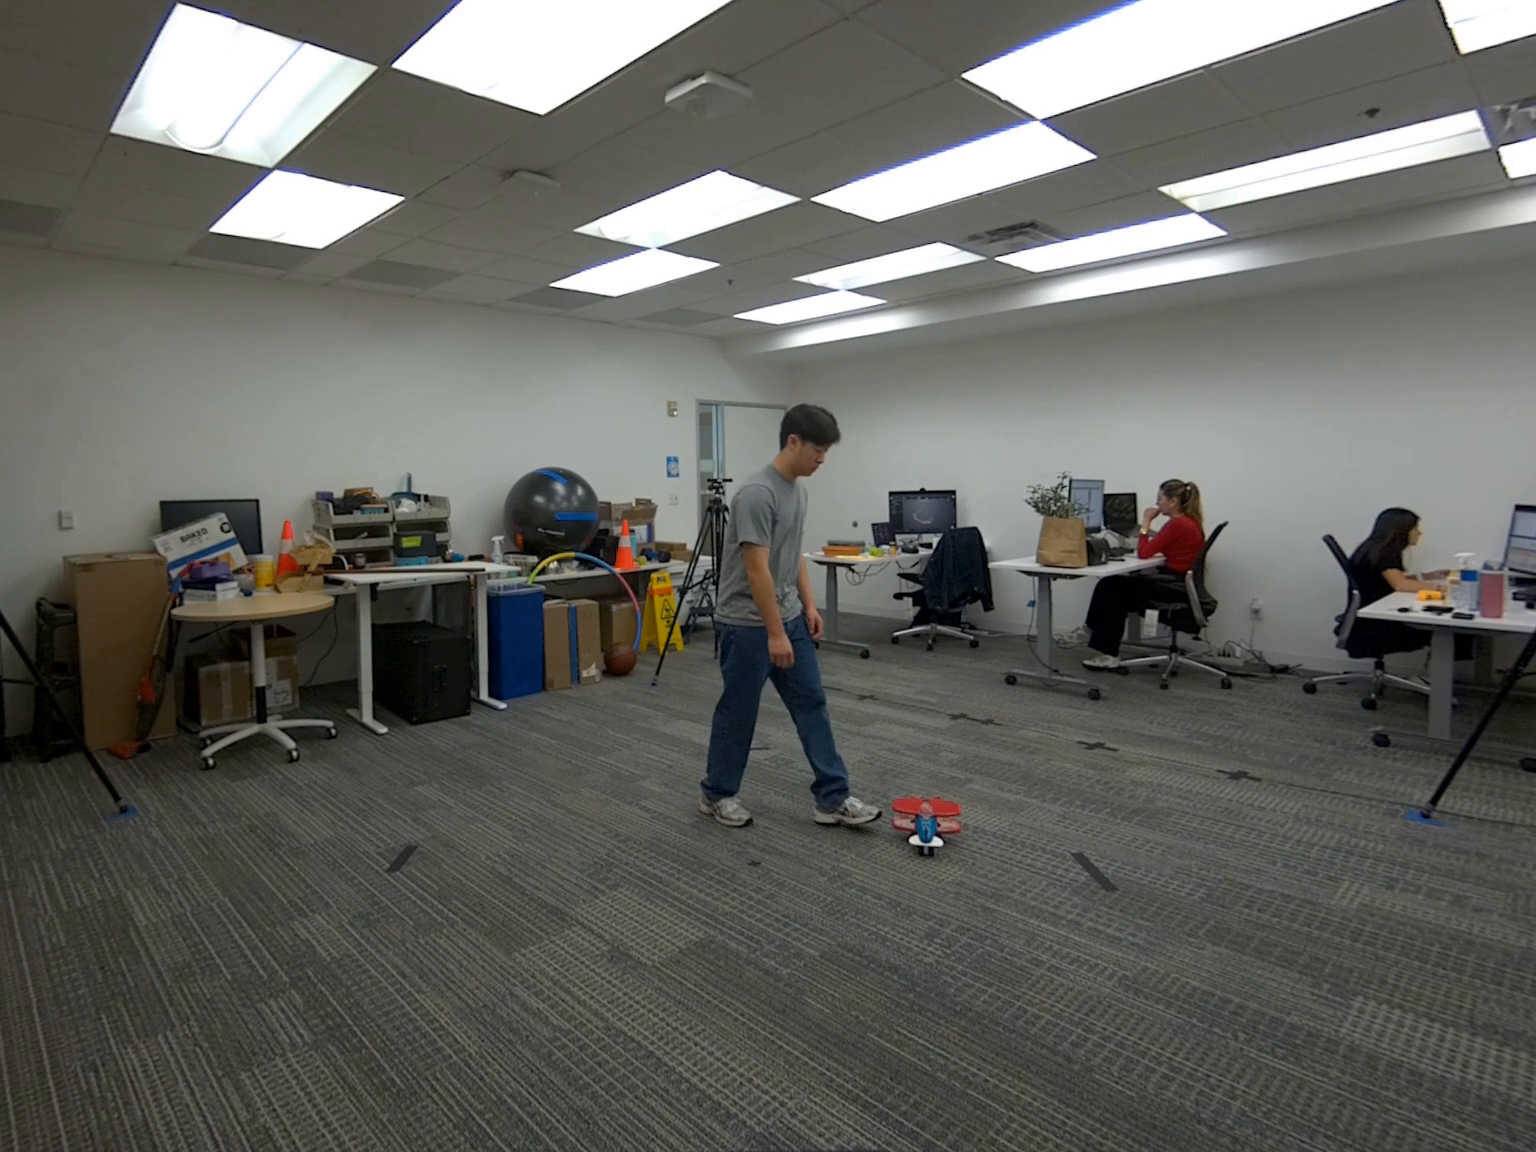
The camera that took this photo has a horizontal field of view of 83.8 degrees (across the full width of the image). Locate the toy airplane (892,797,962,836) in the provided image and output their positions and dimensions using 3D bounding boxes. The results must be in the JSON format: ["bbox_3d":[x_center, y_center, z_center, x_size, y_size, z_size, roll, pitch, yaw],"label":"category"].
[{"bbox_3d":[0.620,0.945,3.233,0.247,0.156,0.264,-2,5,-17],"label":"toy airplane"}]
